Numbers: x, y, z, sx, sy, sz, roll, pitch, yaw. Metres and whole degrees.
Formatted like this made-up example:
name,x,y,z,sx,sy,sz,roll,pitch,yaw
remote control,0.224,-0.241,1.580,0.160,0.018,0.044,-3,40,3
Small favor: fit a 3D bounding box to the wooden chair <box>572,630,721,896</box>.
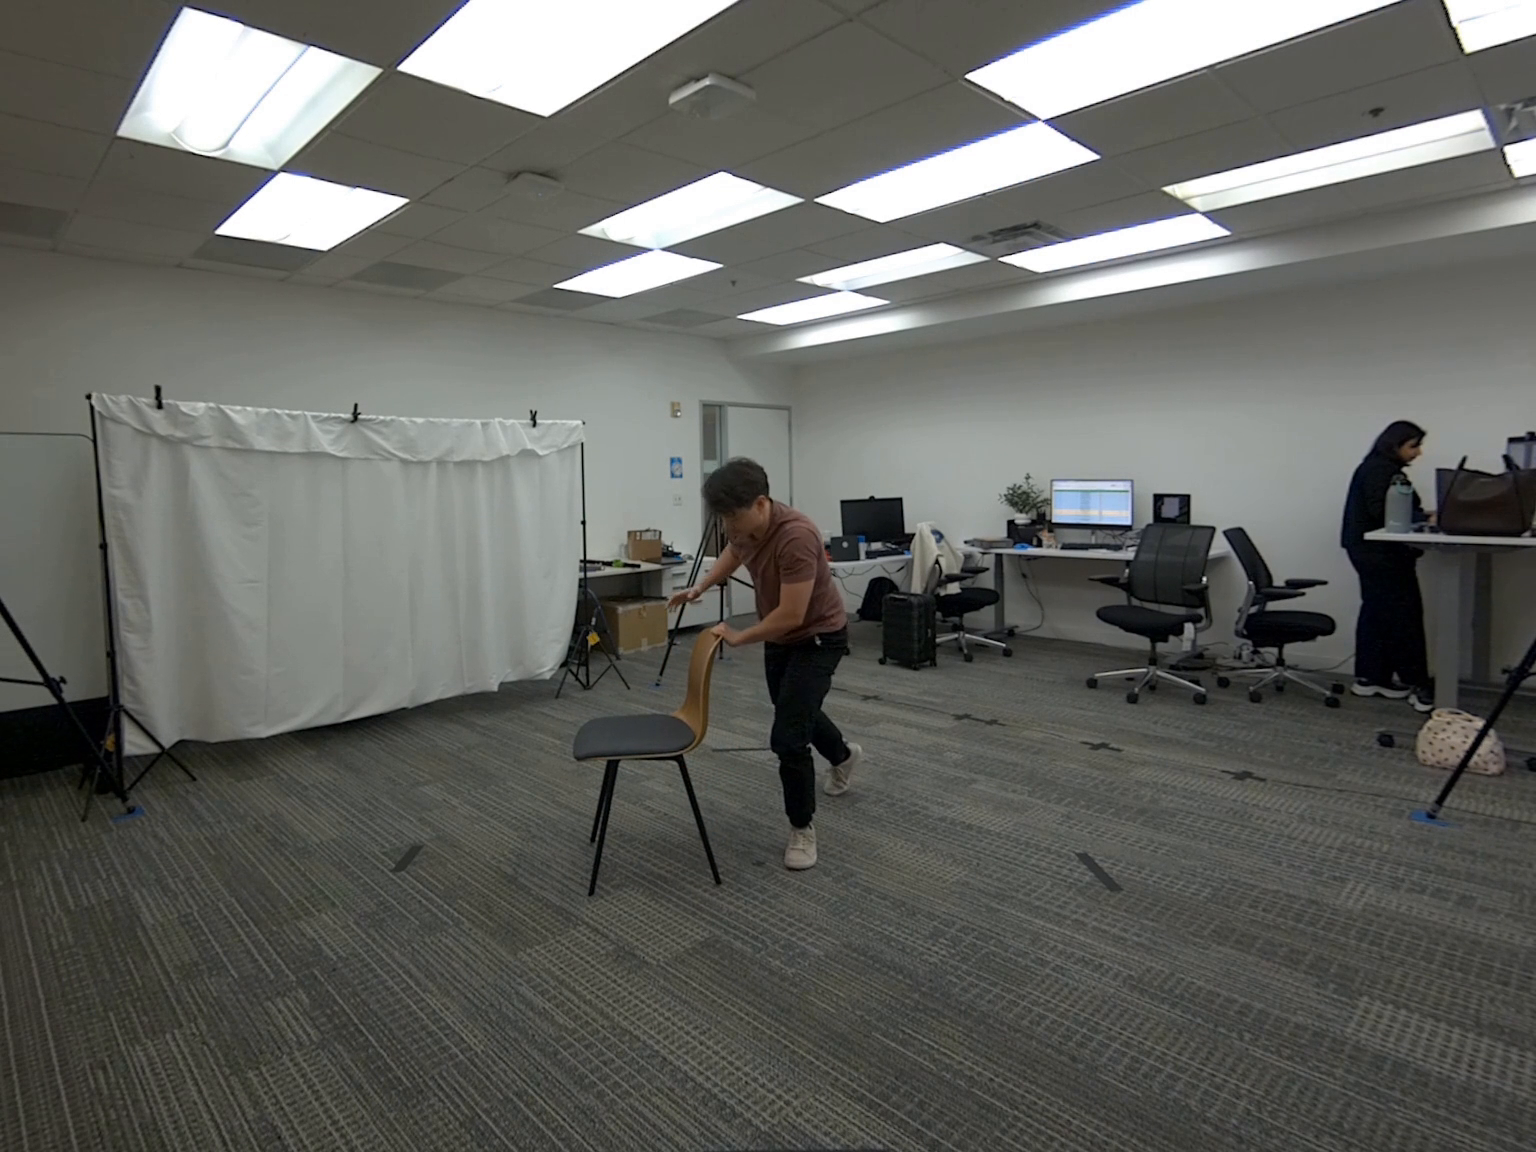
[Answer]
name,x,y,z,sx,sy,sz,roll,pitch,yaw
wooden chair,-0.442,0.629,3.099,0.518,0.874,0.484,2,4,-10
